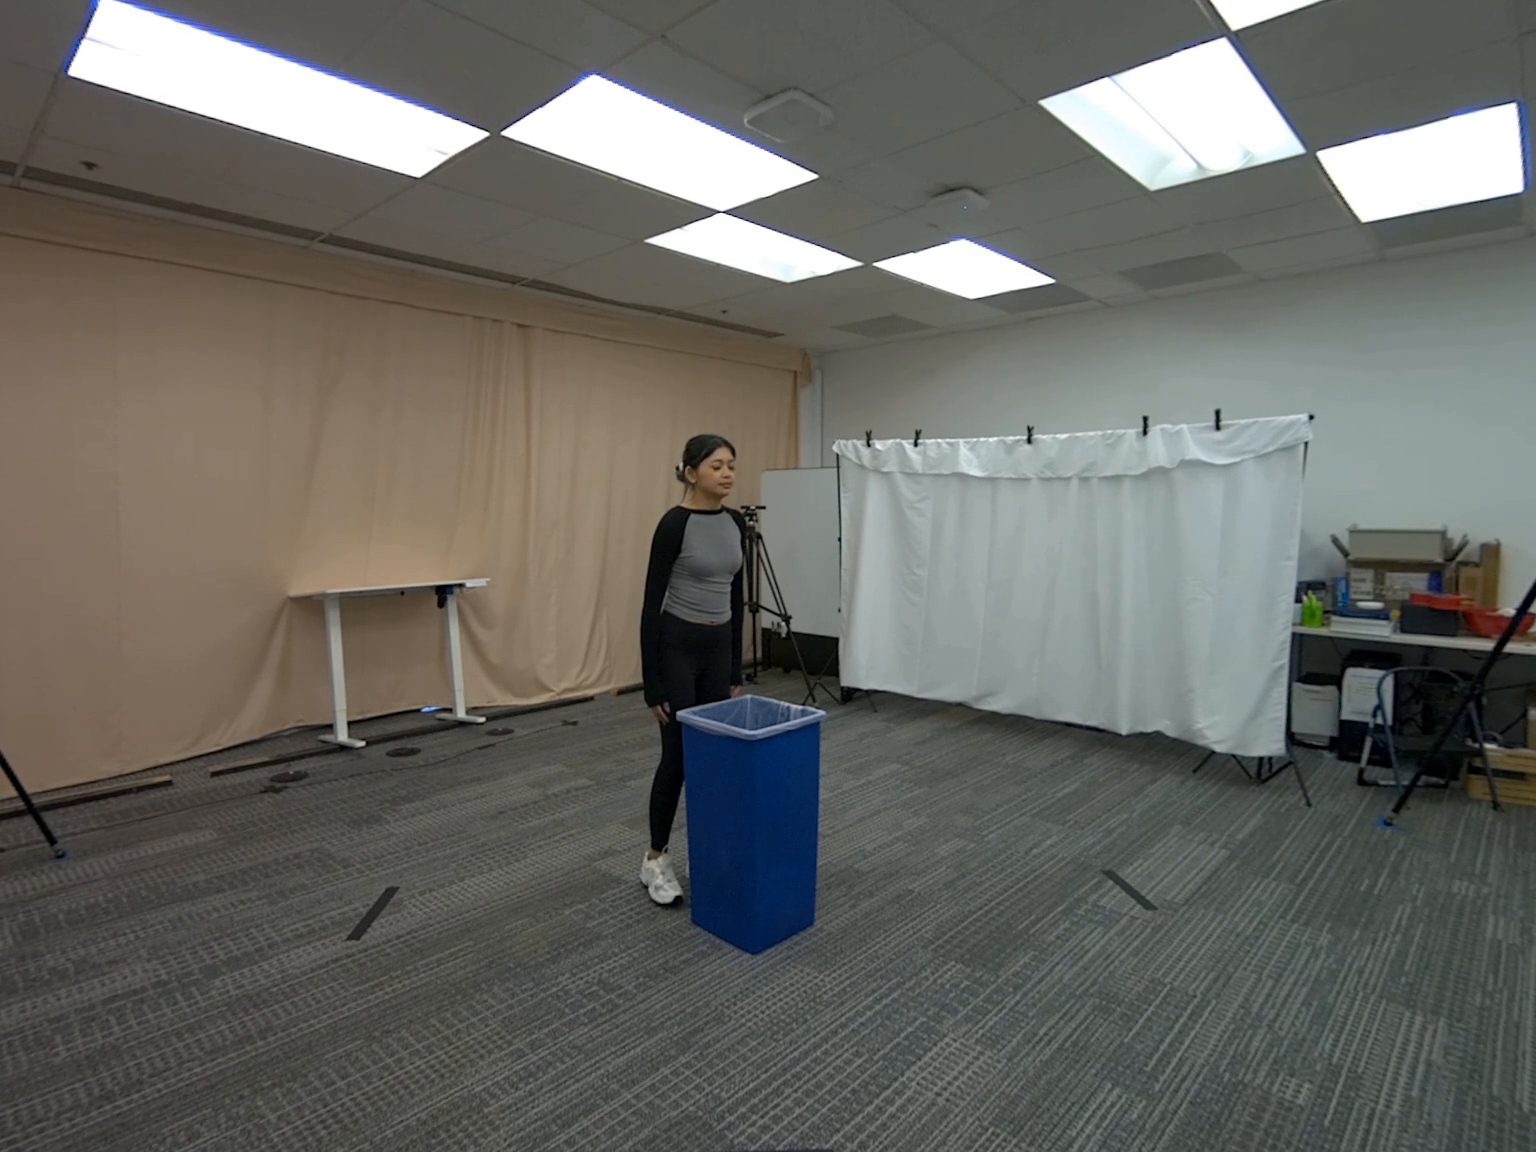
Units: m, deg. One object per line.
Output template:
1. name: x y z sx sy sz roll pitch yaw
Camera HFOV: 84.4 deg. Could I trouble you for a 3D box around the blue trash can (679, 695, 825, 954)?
1. blue trash can: -0.048 0.803 2.784 0.391 0.712 0.362 3 4 44
